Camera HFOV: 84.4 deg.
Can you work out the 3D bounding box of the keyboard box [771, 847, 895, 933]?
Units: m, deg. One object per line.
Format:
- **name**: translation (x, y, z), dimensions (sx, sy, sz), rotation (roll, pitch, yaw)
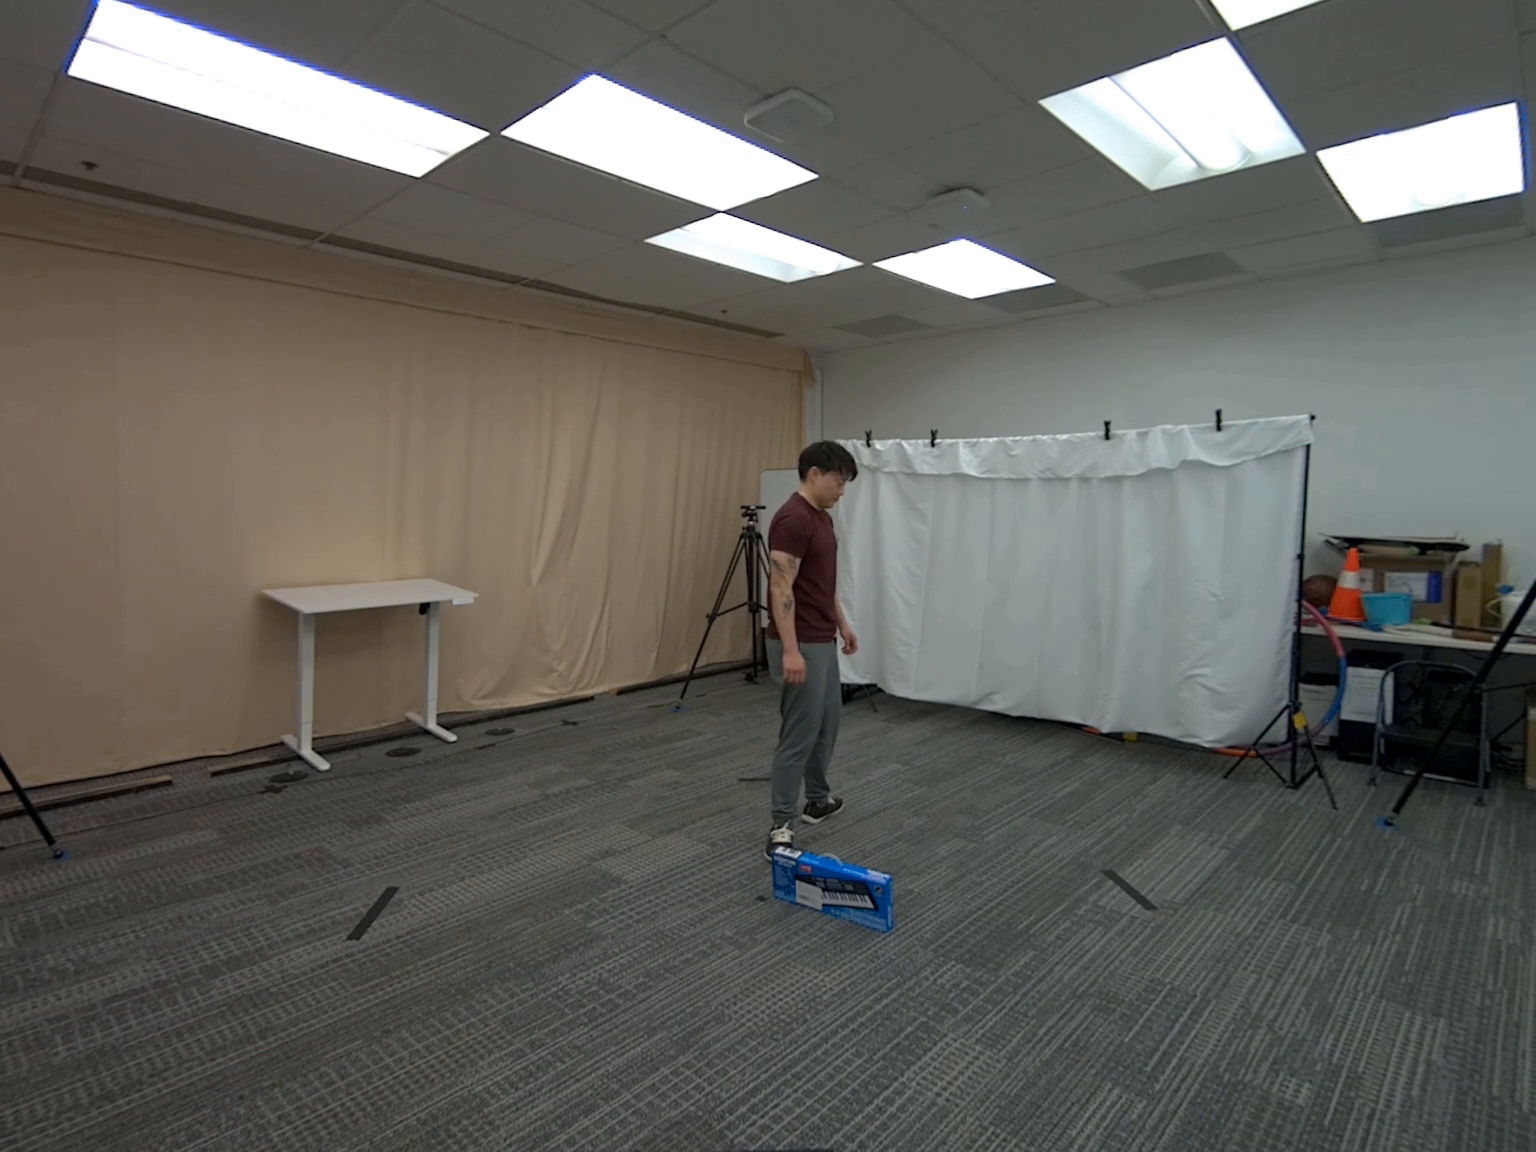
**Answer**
- **keyboard box**: translation (0.212, 1.059, 2.879), dimensions (0.450, 0.175, 0.057), rotation (3, 11, 35)
